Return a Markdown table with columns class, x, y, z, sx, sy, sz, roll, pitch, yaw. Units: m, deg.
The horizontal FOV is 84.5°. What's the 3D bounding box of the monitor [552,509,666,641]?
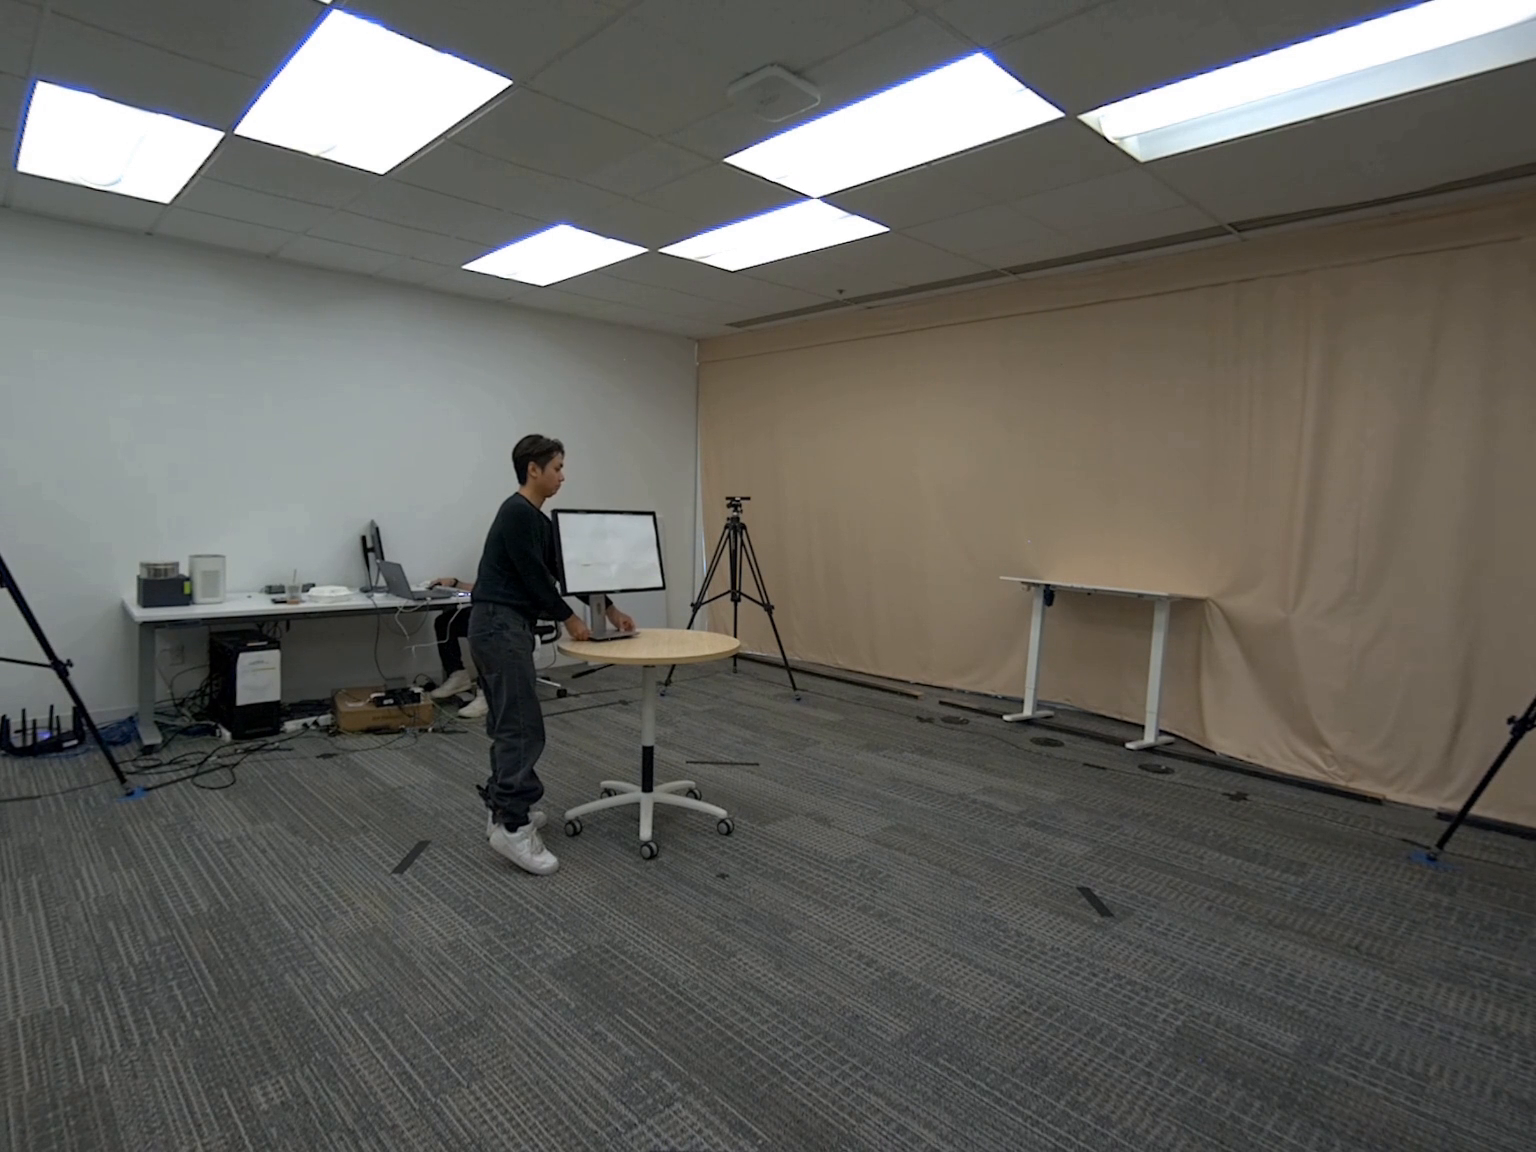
| class | x | y | z | sx | sy | sz | roll | pitch | yaw |
| --- | --- | --- | --- | --- | --- | --- | --- | --- | --- |
| monitor | -0.711 | -0.015 | 3.644 | 0.191 | 0.522 | 0.527 | 2 | 3 | 39 |
